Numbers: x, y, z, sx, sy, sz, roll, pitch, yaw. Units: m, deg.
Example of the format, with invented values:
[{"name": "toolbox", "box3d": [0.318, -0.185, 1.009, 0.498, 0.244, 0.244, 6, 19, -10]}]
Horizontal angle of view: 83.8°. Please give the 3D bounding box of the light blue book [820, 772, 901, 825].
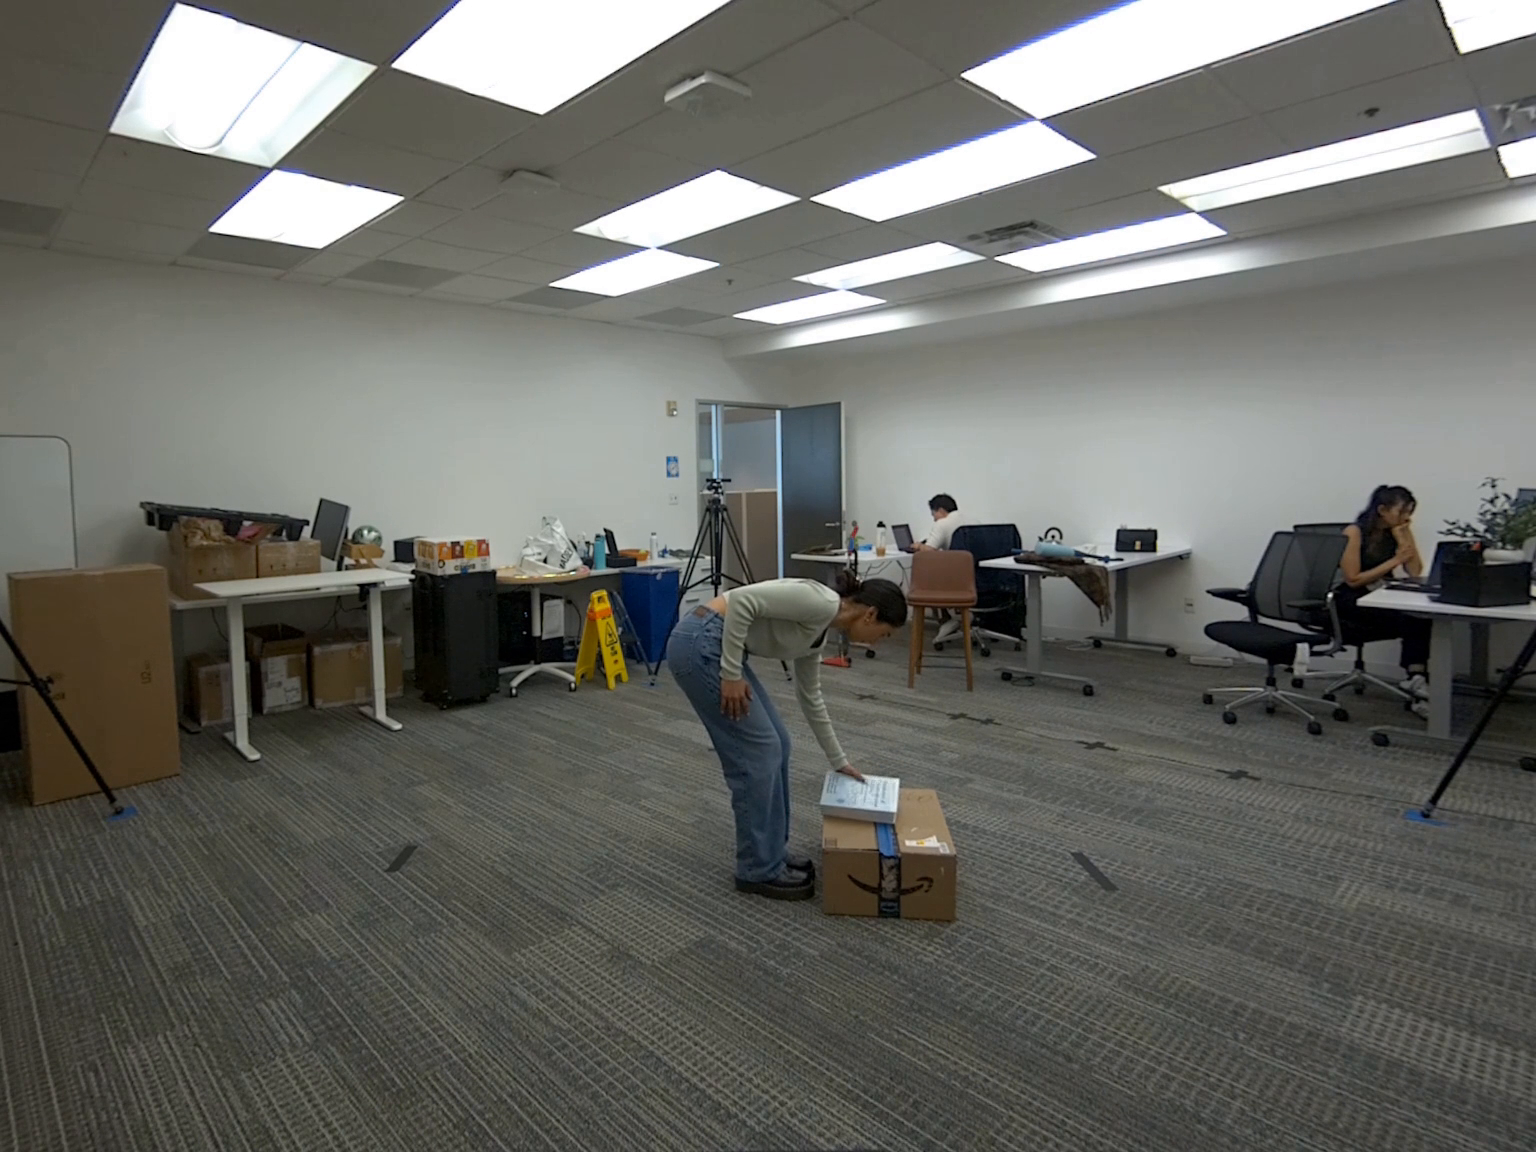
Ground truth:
[{"name": "light blue book", "box3d": [0.330, 0.790, 3.005, 0.265, 0.058, 0.193, 2, 25, 14]}]
